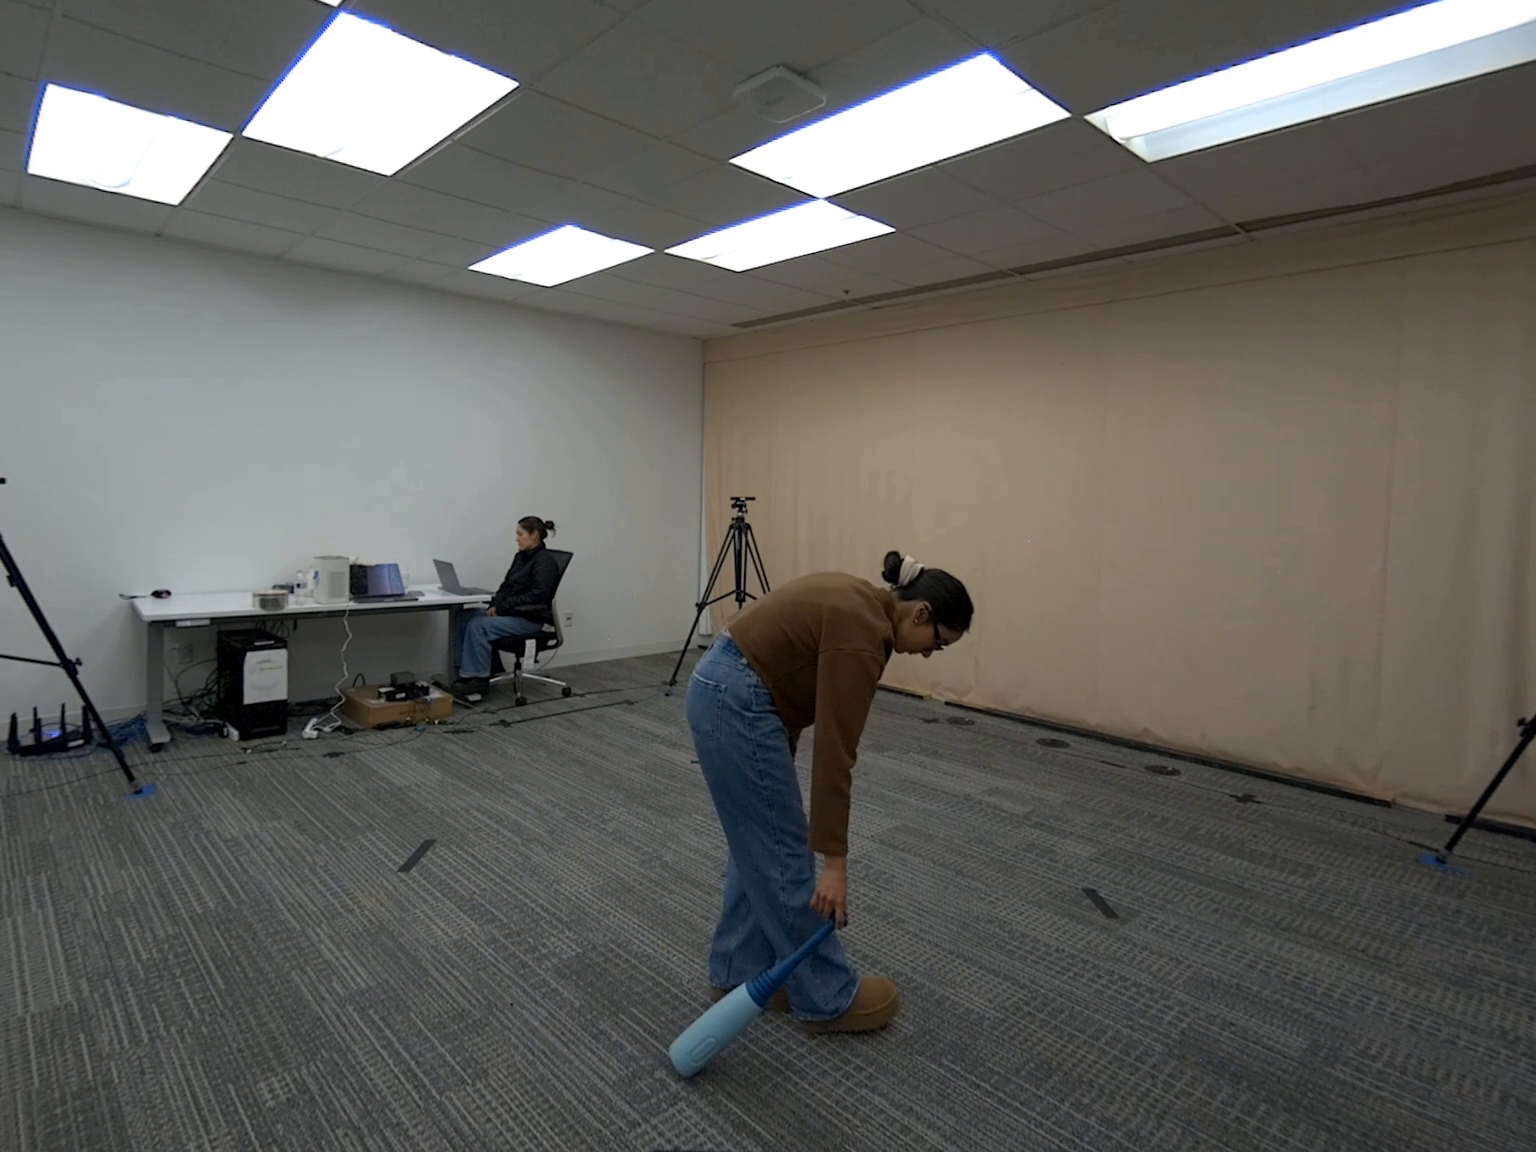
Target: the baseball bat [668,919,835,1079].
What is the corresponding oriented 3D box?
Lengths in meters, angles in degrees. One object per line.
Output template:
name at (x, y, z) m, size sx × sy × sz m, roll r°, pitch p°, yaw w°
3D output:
baseball bat at (-0.026, 1.003, 2.021) m, size 0.543 × 0.089 × 0.089 m, roll -43°, pitch 4°, yaw 2°
